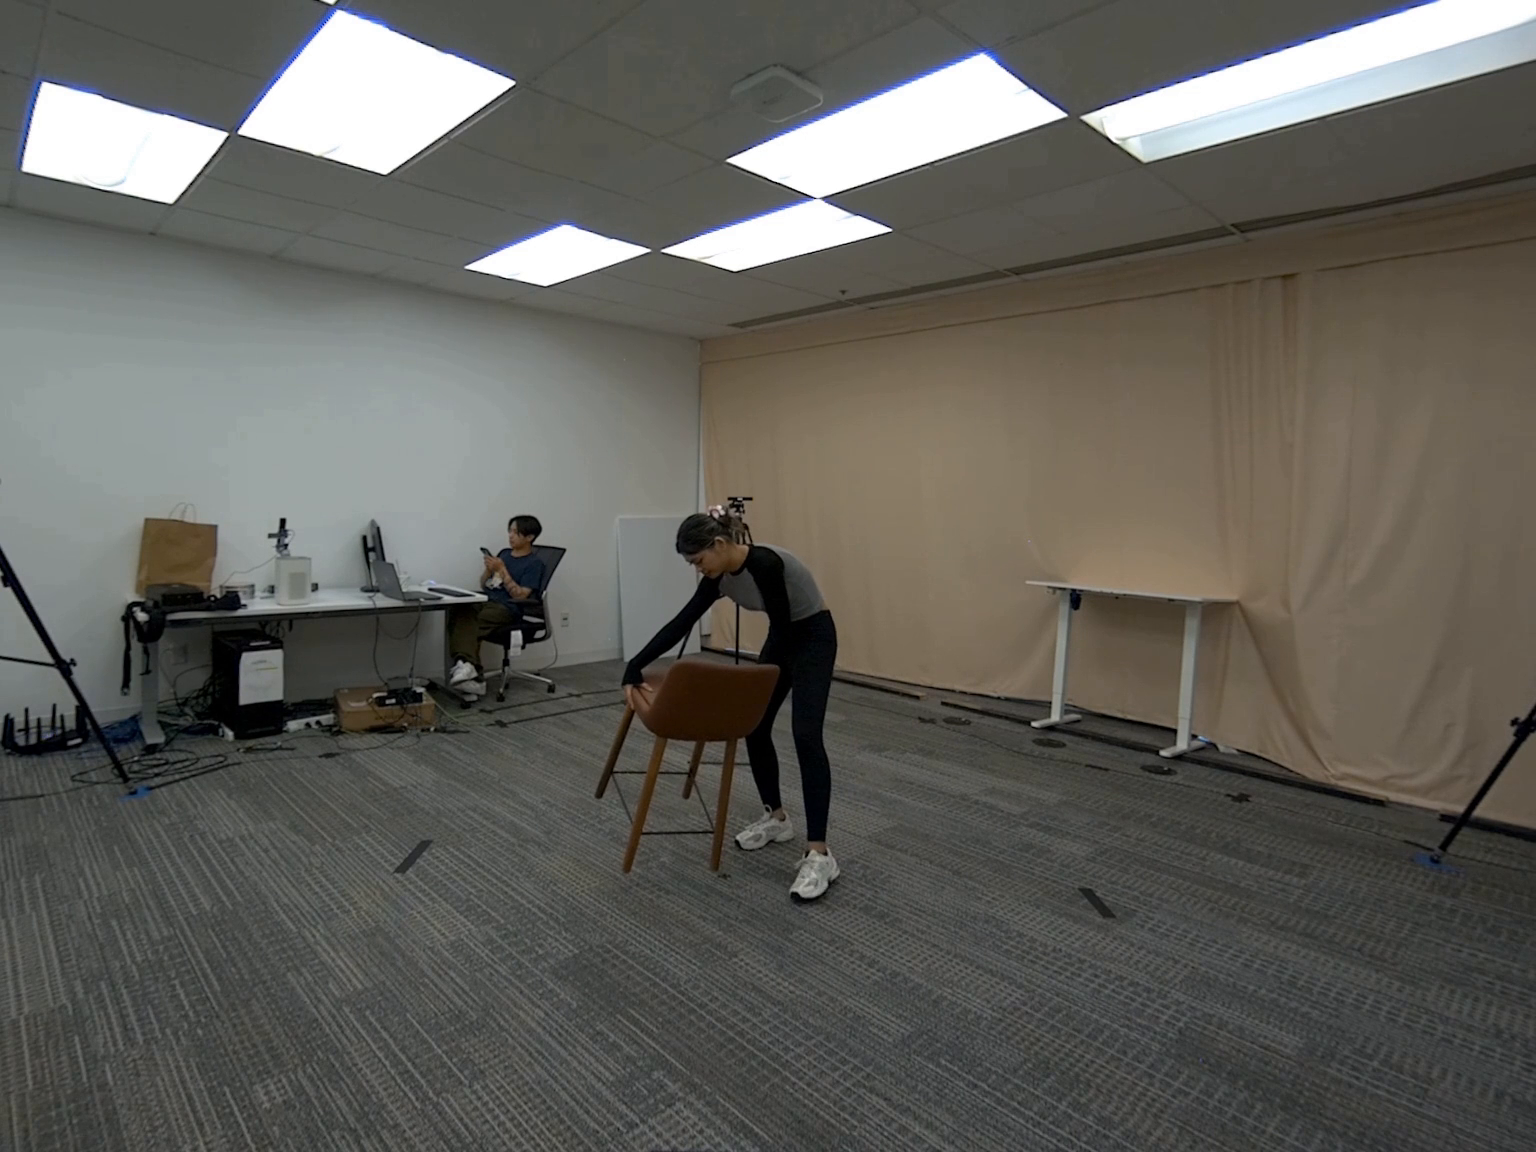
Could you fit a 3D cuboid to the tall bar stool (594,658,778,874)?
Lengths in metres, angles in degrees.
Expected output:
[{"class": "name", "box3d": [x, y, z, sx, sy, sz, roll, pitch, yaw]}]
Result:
[{"class": "tall bar stool", "box3d": [-0.334, 0.611, 3.139, 0.447, 0.882, 0.481, 7, 20, -26]}]
